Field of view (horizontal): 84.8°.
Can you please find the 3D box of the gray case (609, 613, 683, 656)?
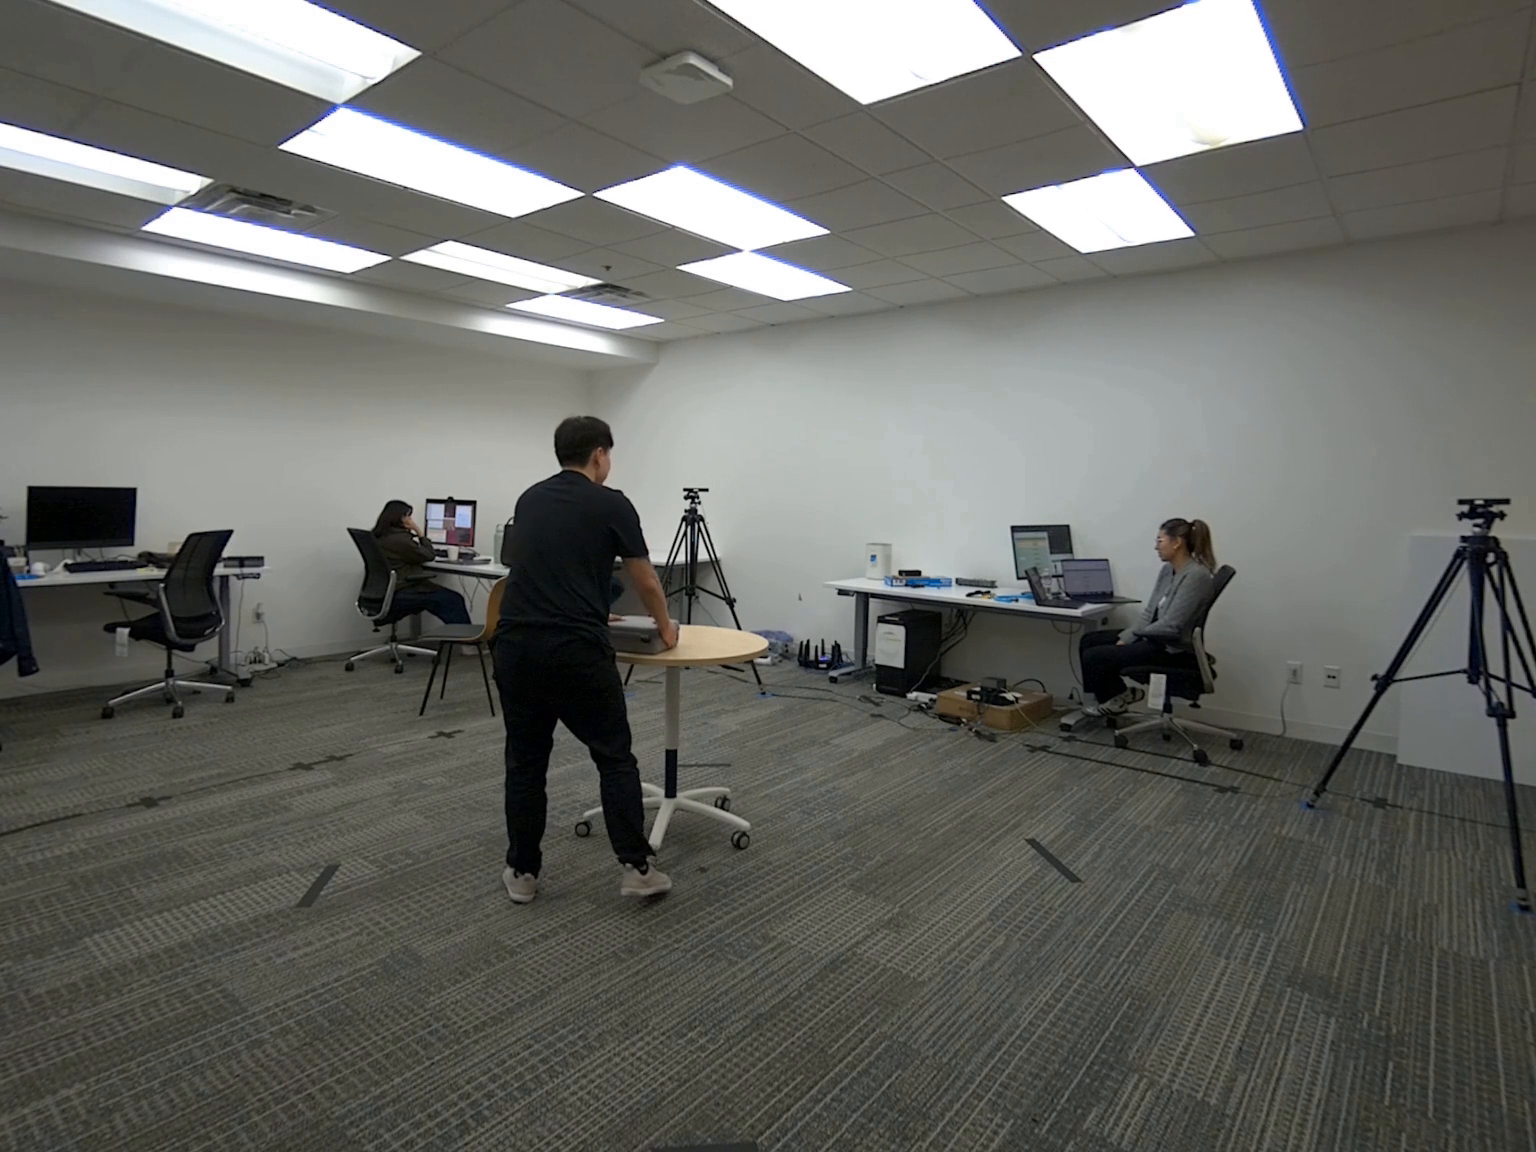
[{"bbox_3d":[-0.496,0.220,3.250,0.262,0.104,0.257,2,6,16],"label":"gray case"}]
